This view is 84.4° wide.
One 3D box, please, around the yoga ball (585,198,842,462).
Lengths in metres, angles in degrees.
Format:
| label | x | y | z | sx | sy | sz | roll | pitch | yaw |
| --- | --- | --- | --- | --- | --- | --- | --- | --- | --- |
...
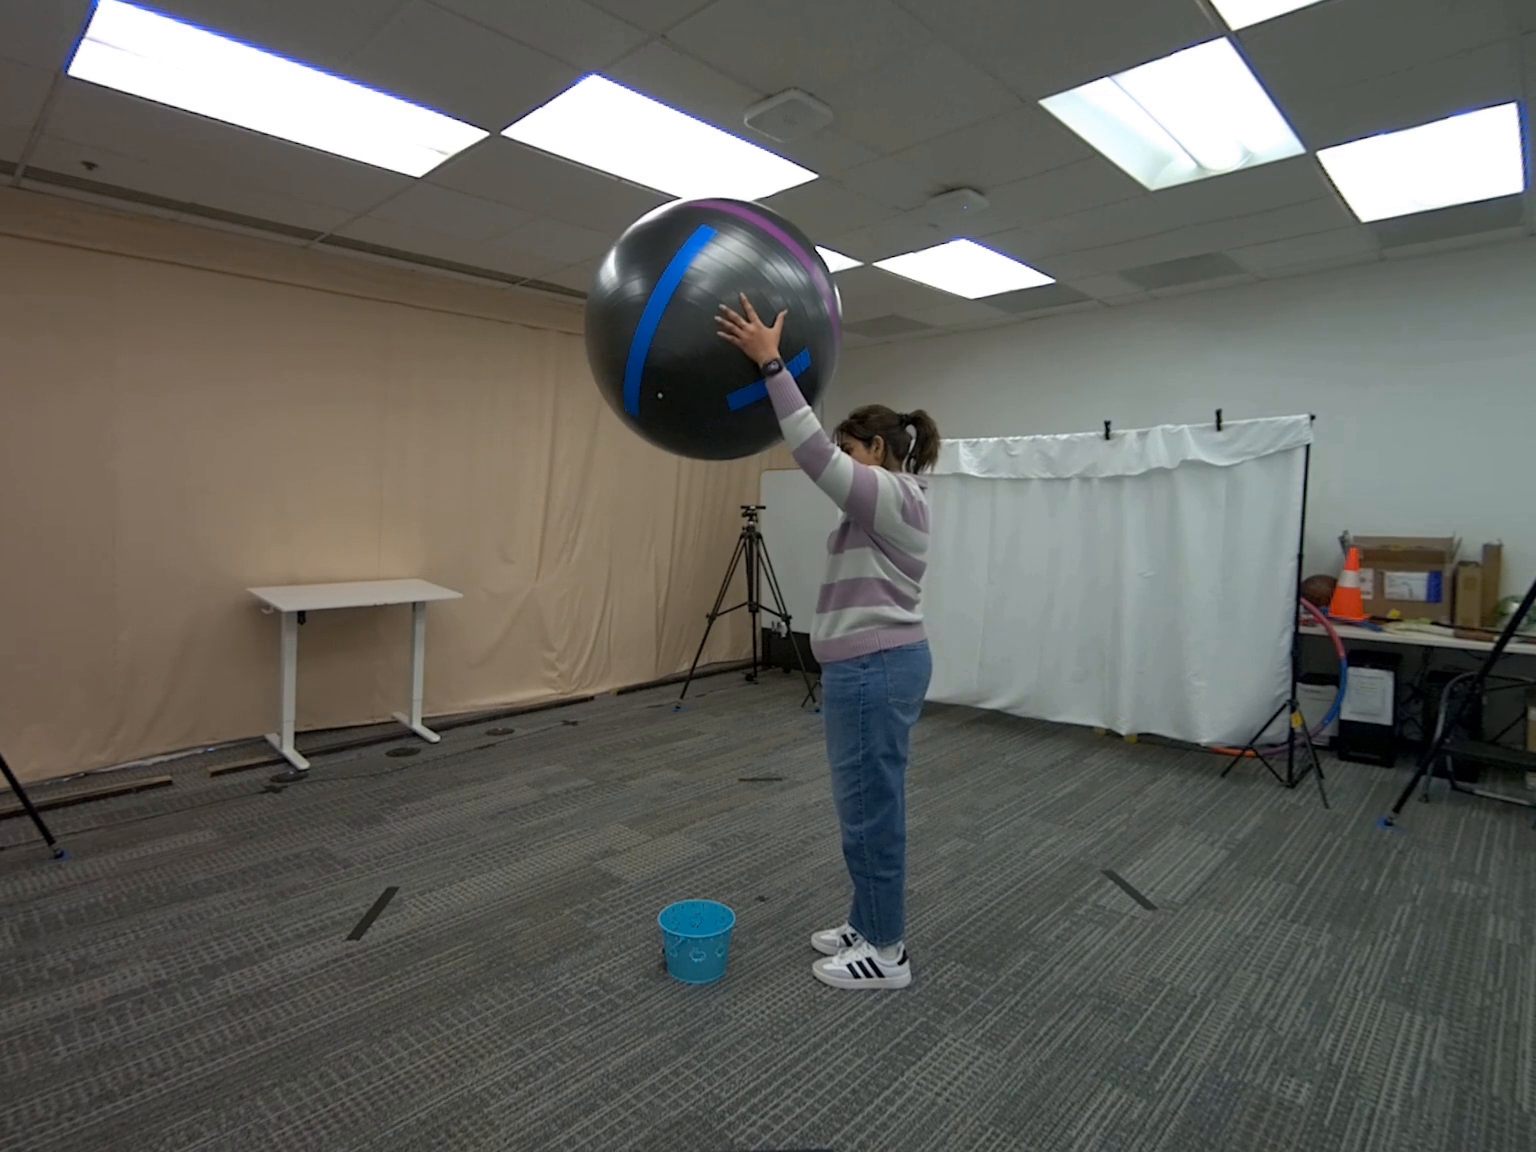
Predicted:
| label | x | y | z | sx | sy | sz | roll | pitch | yaw |
| --- | --- | --- | --- | --- | --- | --- | --- | --- | --- |
| yoga ball | -0.161 | -0.717 | 2.500 | 0.757 | 0.756 | 0.761 | 0 | 4 | -2 |
